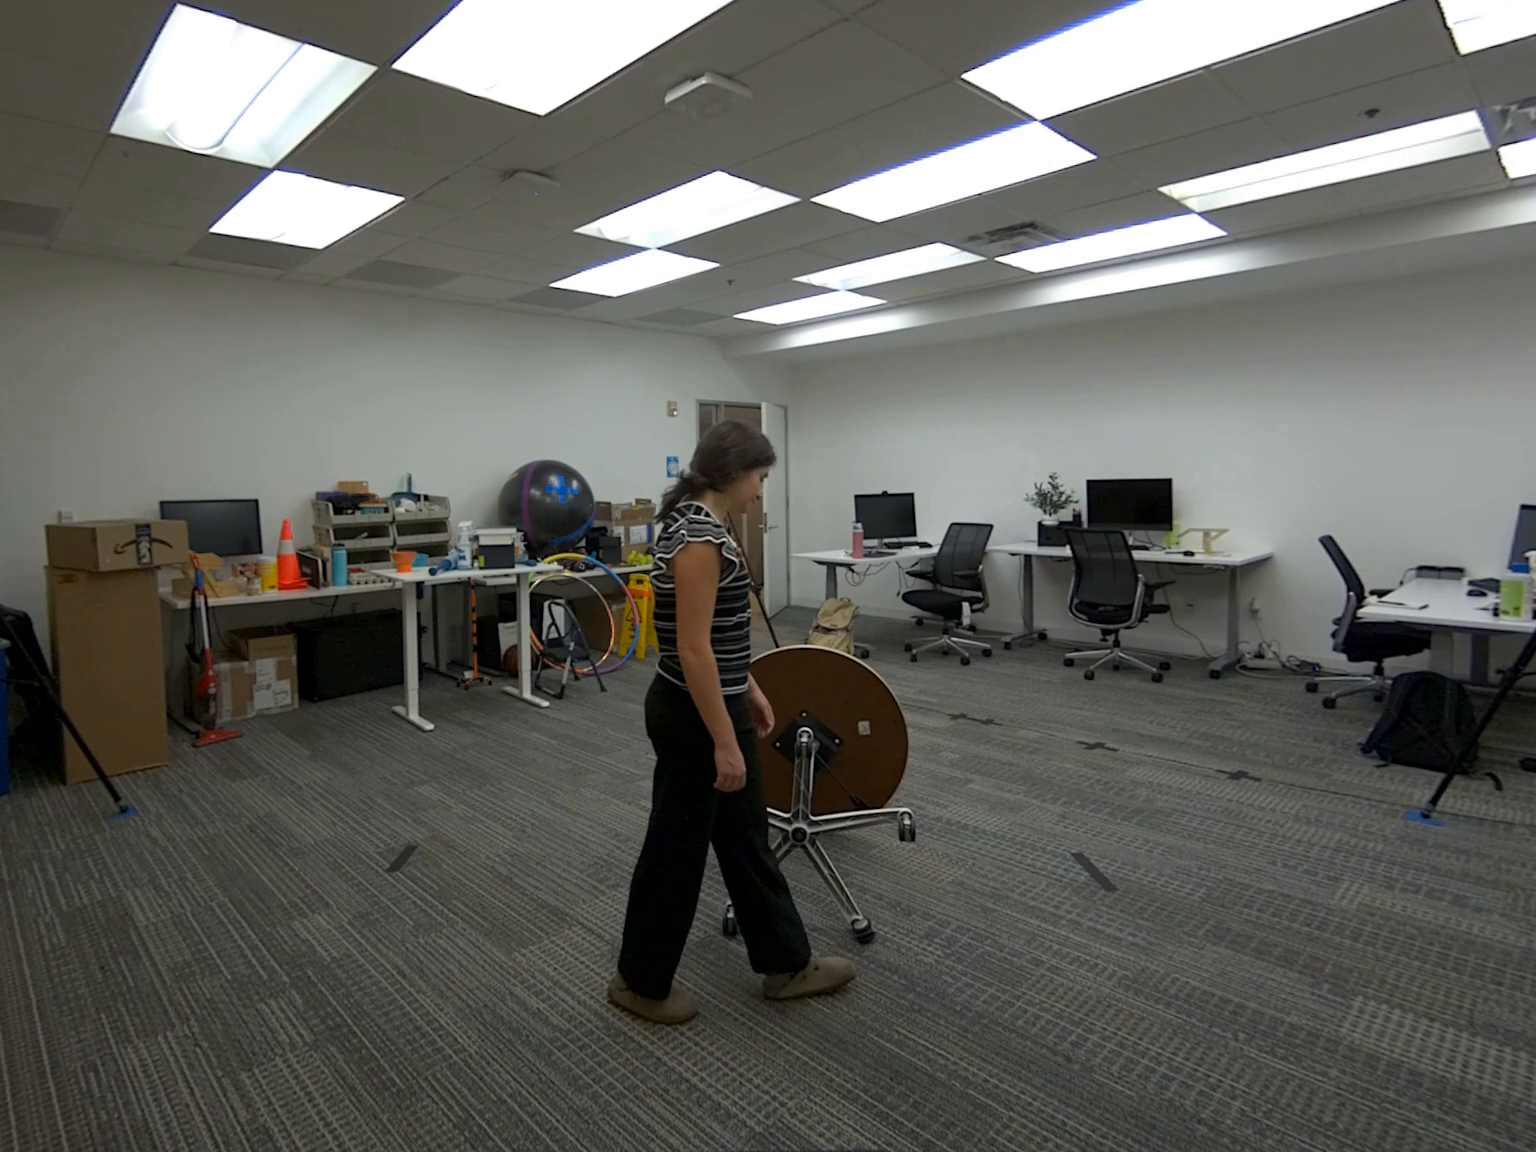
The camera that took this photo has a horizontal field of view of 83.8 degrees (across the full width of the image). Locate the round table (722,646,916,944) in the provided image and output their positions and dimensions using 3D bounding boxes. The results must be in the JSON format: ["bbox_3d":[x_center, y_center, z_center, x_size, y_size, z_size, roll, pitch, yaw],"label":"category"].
[{"bbox_3d":[0.133,0.726,2.915,0.790,0.778,0.789,0,11,6],"label":"round table"}]
